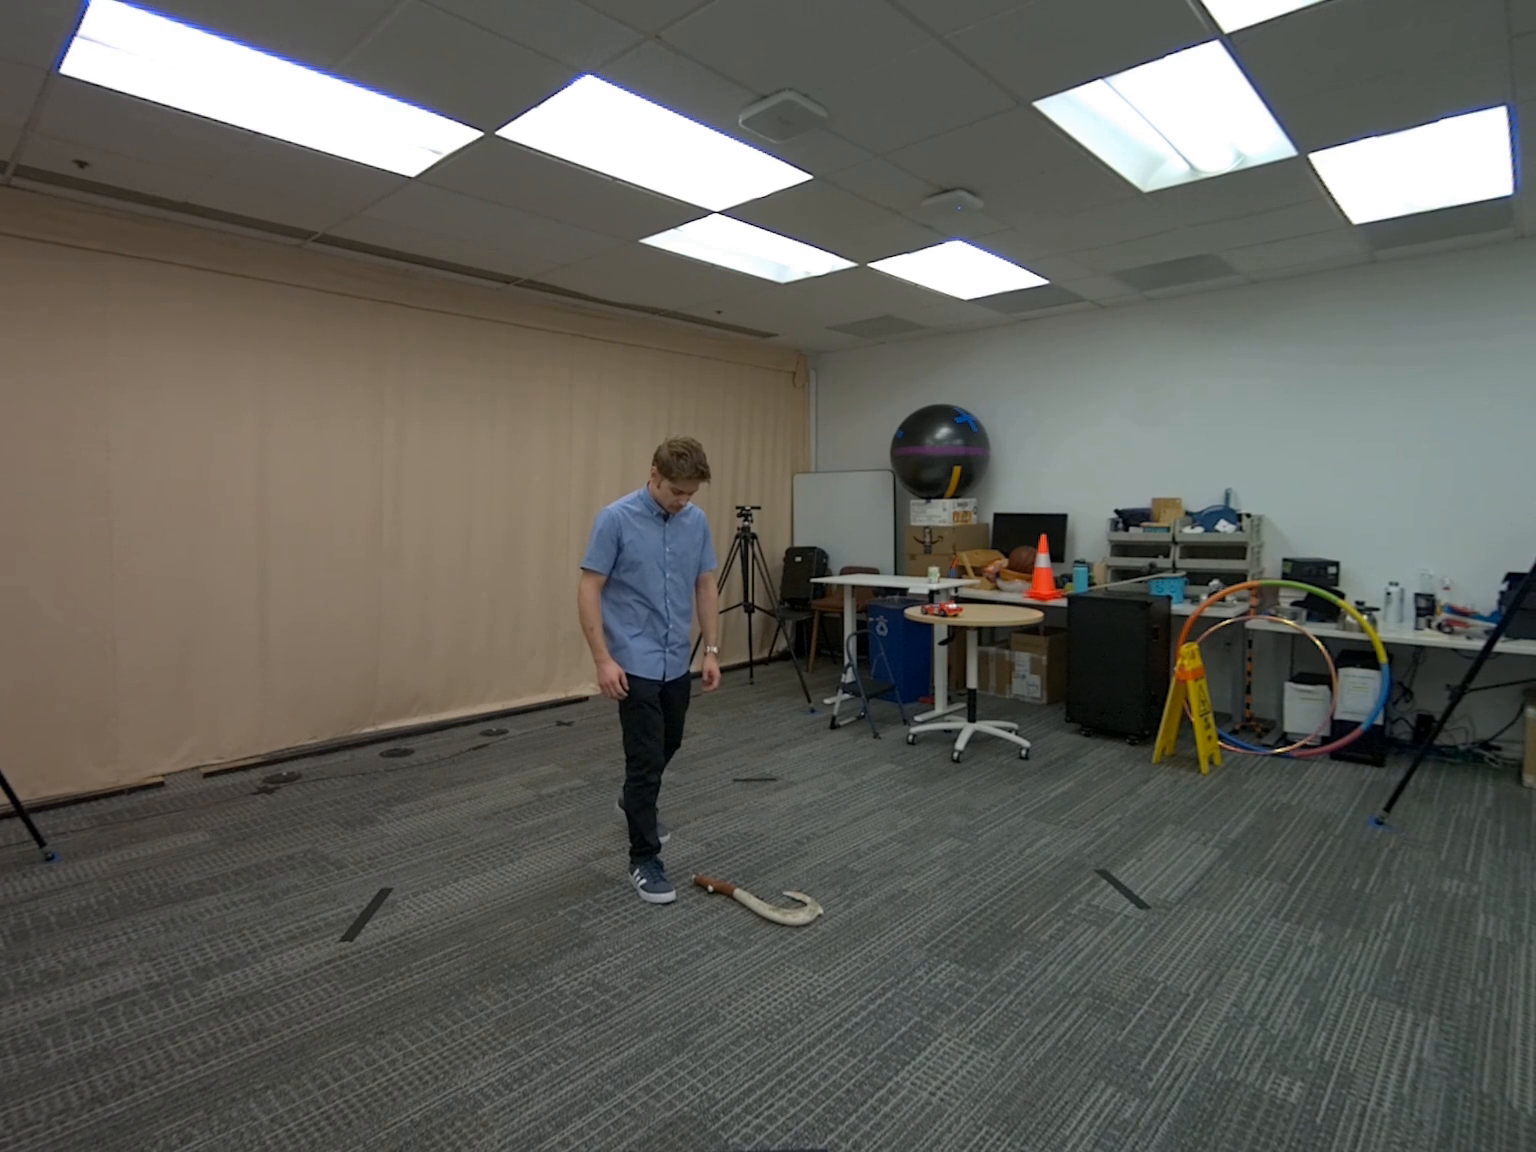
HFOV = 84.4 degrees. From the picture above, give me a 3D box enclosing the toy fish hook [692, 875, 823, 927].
[{"bbox_3d":[-0.041,1.128,2.982,0.523,0.048,0.217,5,-2,39],"label":"toy fish hook"}]
